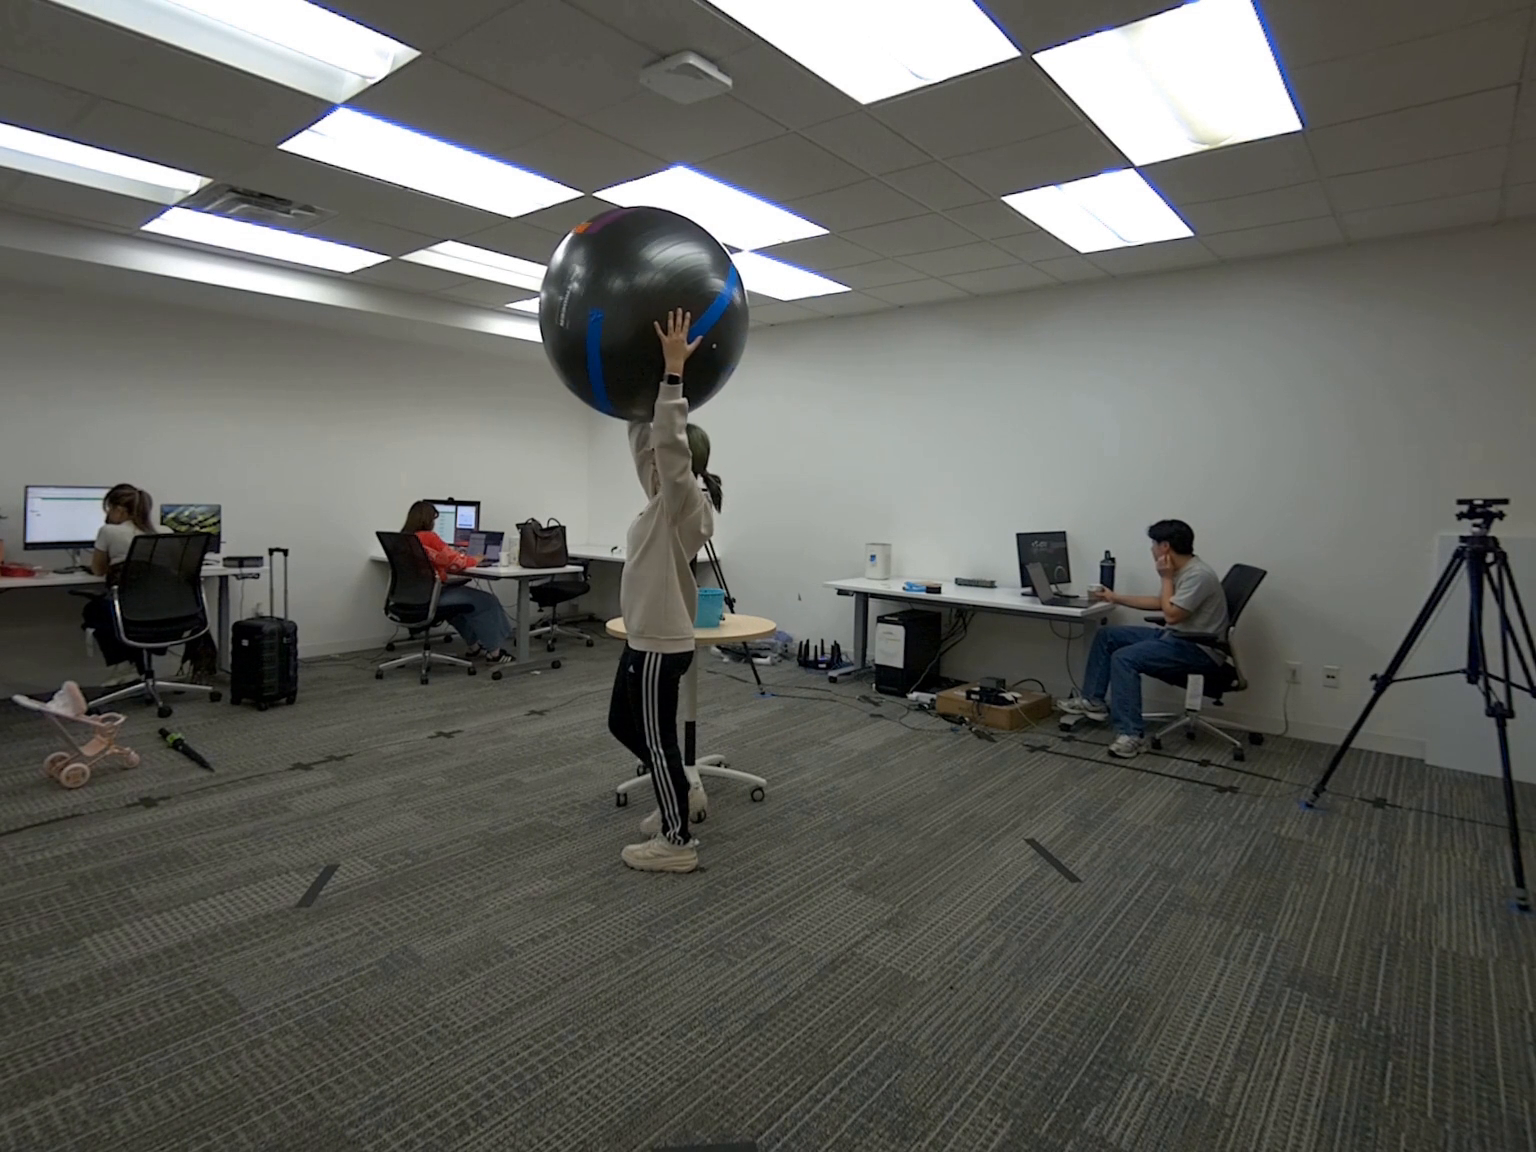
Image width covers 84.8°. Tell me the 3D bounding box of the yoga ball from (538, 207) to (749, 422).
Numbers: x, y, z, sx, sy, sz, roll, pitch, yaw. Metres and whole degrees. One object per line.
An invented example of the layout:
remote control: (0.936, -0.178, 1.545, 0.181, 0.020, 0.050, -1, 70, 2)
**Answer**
yoga ball: (-0.459, -0.937, 3.077, 0.757, 0.756, 0.761, 1, 4, -2)
